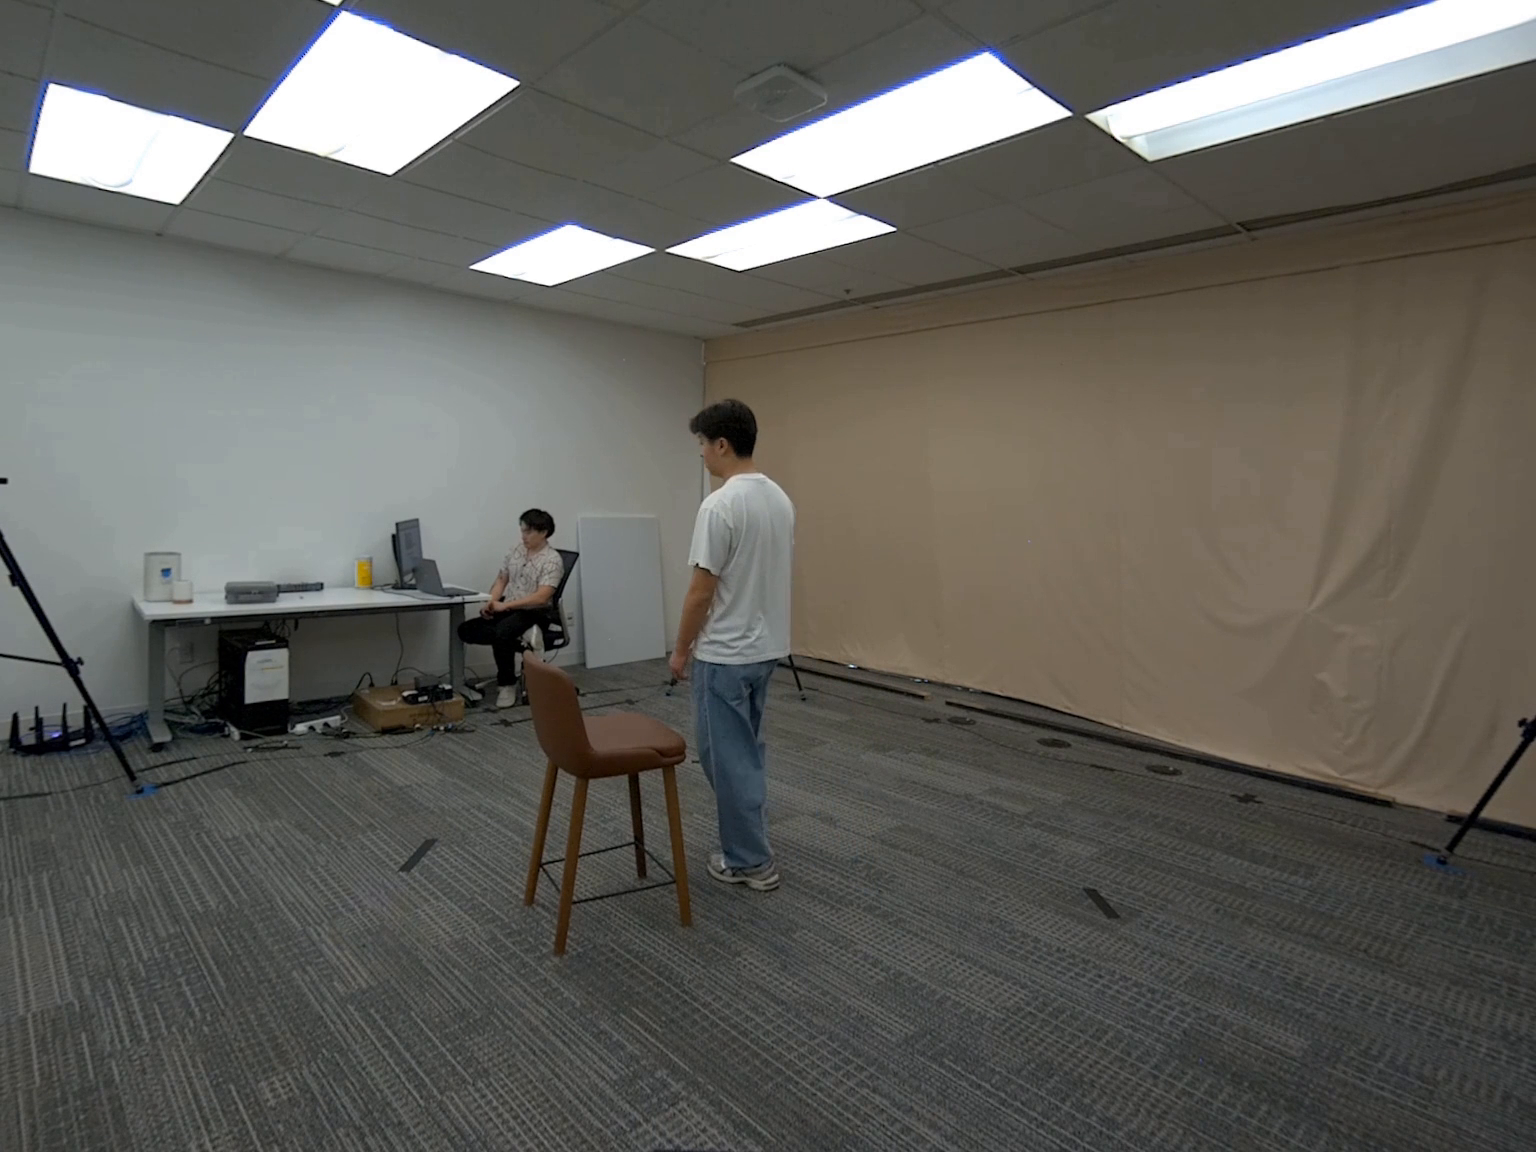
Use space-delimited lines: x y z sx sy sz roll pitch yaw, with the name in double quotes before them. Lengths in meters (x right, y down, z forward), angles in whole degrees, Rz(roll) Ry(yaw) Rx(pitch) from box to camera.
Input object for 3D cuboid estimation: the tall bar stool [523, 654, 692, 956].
"tall bar stool" -0.541 0.690 2.773 0.458 0.887 0.467 -2 5 -30
